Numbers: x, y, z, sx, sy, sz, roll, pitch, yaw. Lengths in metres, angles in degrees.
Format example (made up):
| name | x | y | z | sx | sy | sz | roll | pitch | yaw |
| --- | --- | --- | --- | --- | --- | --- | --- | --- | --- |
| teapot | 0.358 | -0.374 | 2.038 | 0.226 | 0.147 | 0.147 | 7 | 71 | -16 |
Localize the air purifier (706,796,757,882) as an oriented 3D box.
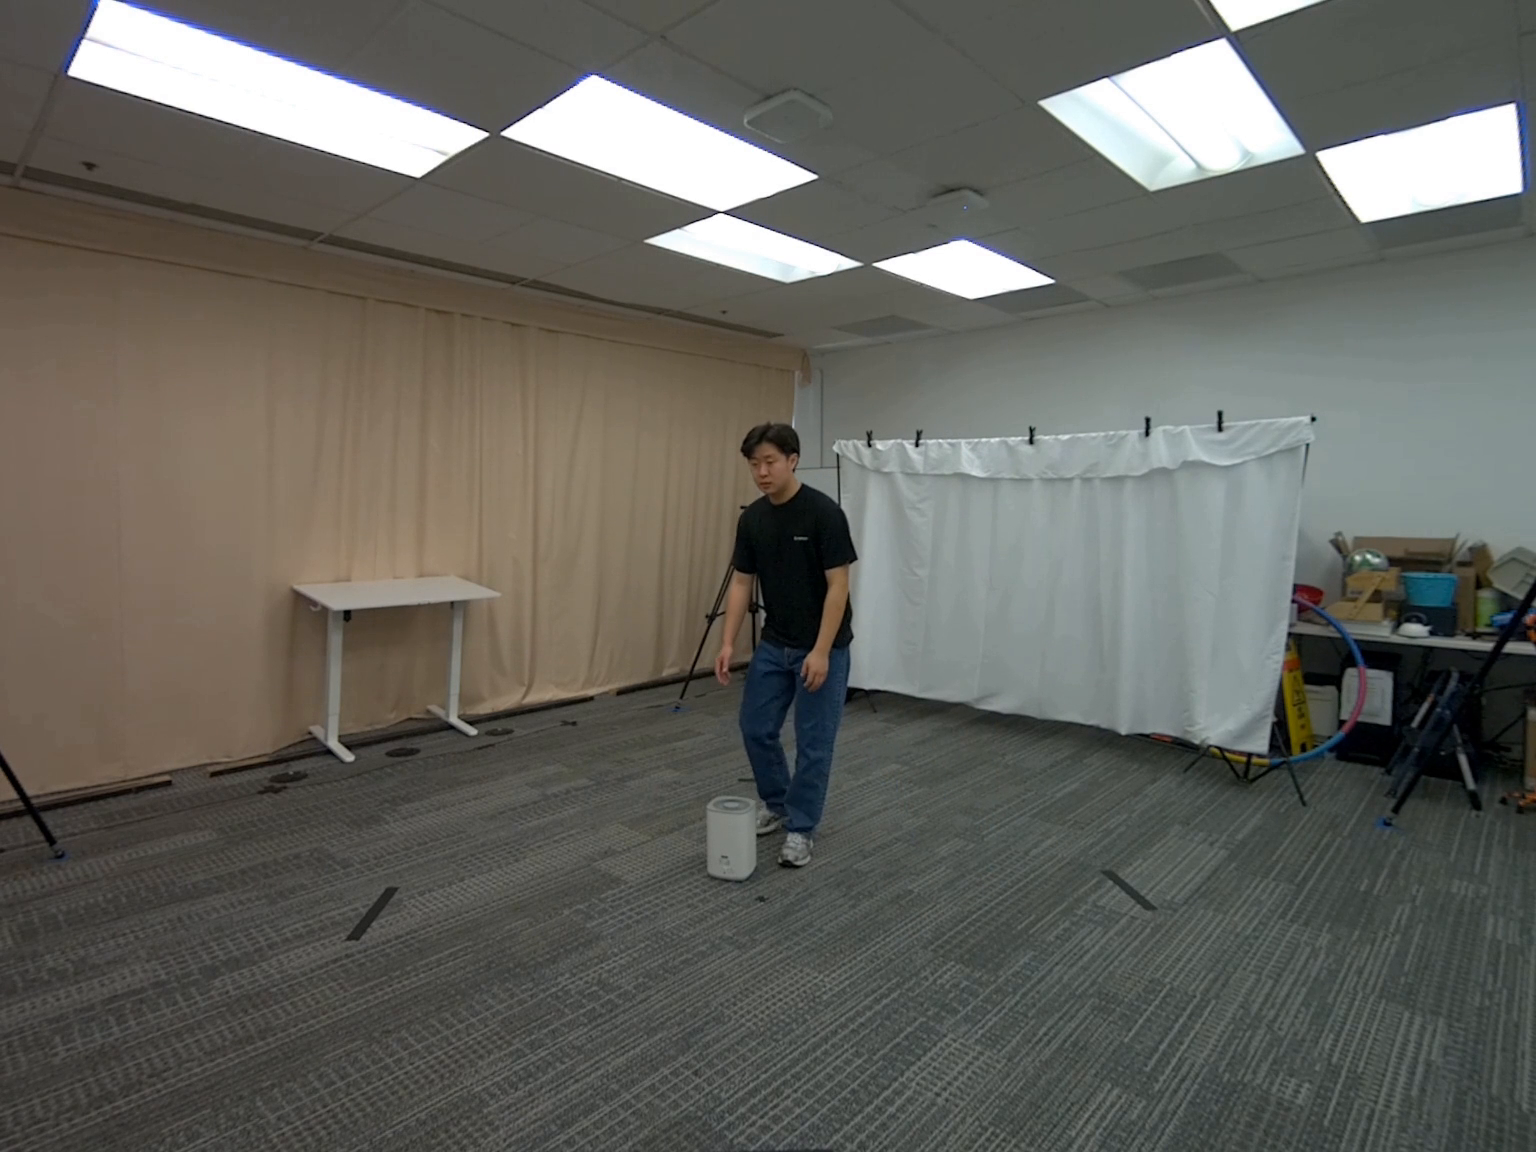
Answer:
| name | x | y | z | sx | sy | sz | roll | pitch | yaw |
| --- | --- | --- | --- | --- | --- | --- | --- | --- | --- |
| air purifier | -0.136 | 0.991 | 3.188 | 0.174 | 0.265 | 0.168 | 1 | 4 | 18 |
